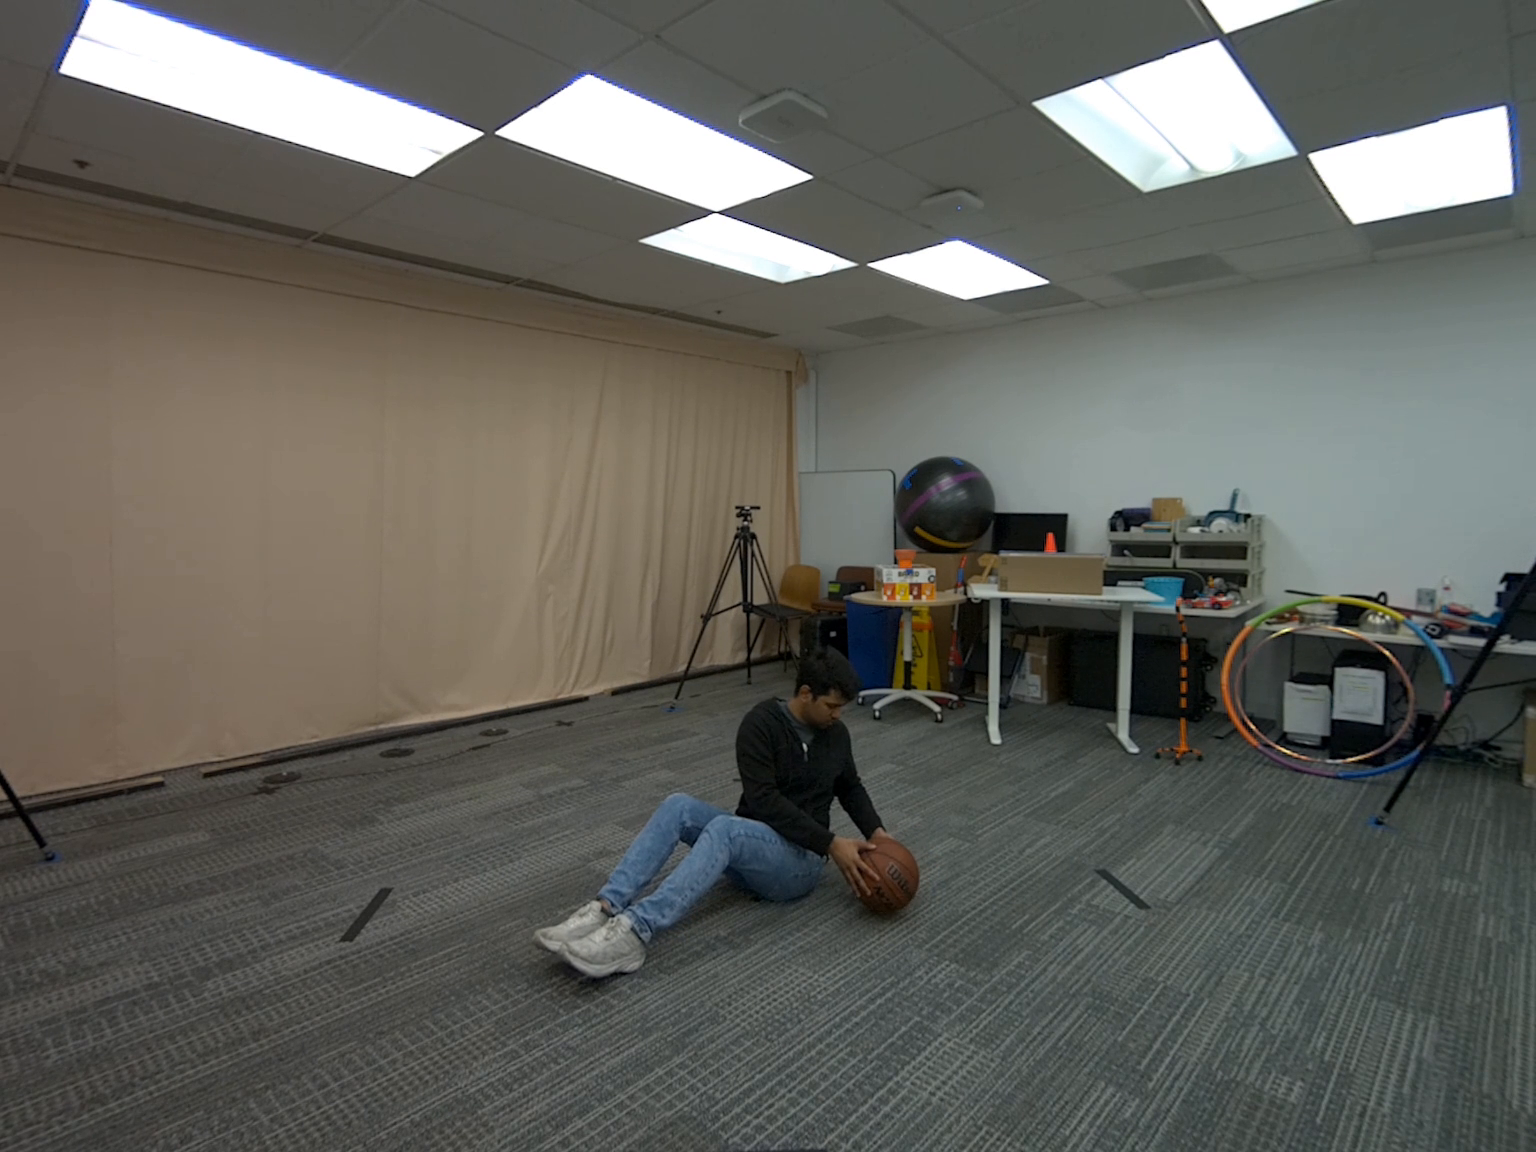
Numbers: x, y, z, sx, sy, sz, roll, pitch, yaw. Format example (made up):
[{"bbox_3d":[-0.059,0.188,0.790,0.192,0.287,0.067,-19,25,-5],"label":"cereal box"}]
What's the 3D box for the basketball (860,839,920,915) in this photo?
[{"bbox_3d":[0.395,1.005,2.863,0.236,0.235,0.237,0,4,-2],"label":"basketball"}]
